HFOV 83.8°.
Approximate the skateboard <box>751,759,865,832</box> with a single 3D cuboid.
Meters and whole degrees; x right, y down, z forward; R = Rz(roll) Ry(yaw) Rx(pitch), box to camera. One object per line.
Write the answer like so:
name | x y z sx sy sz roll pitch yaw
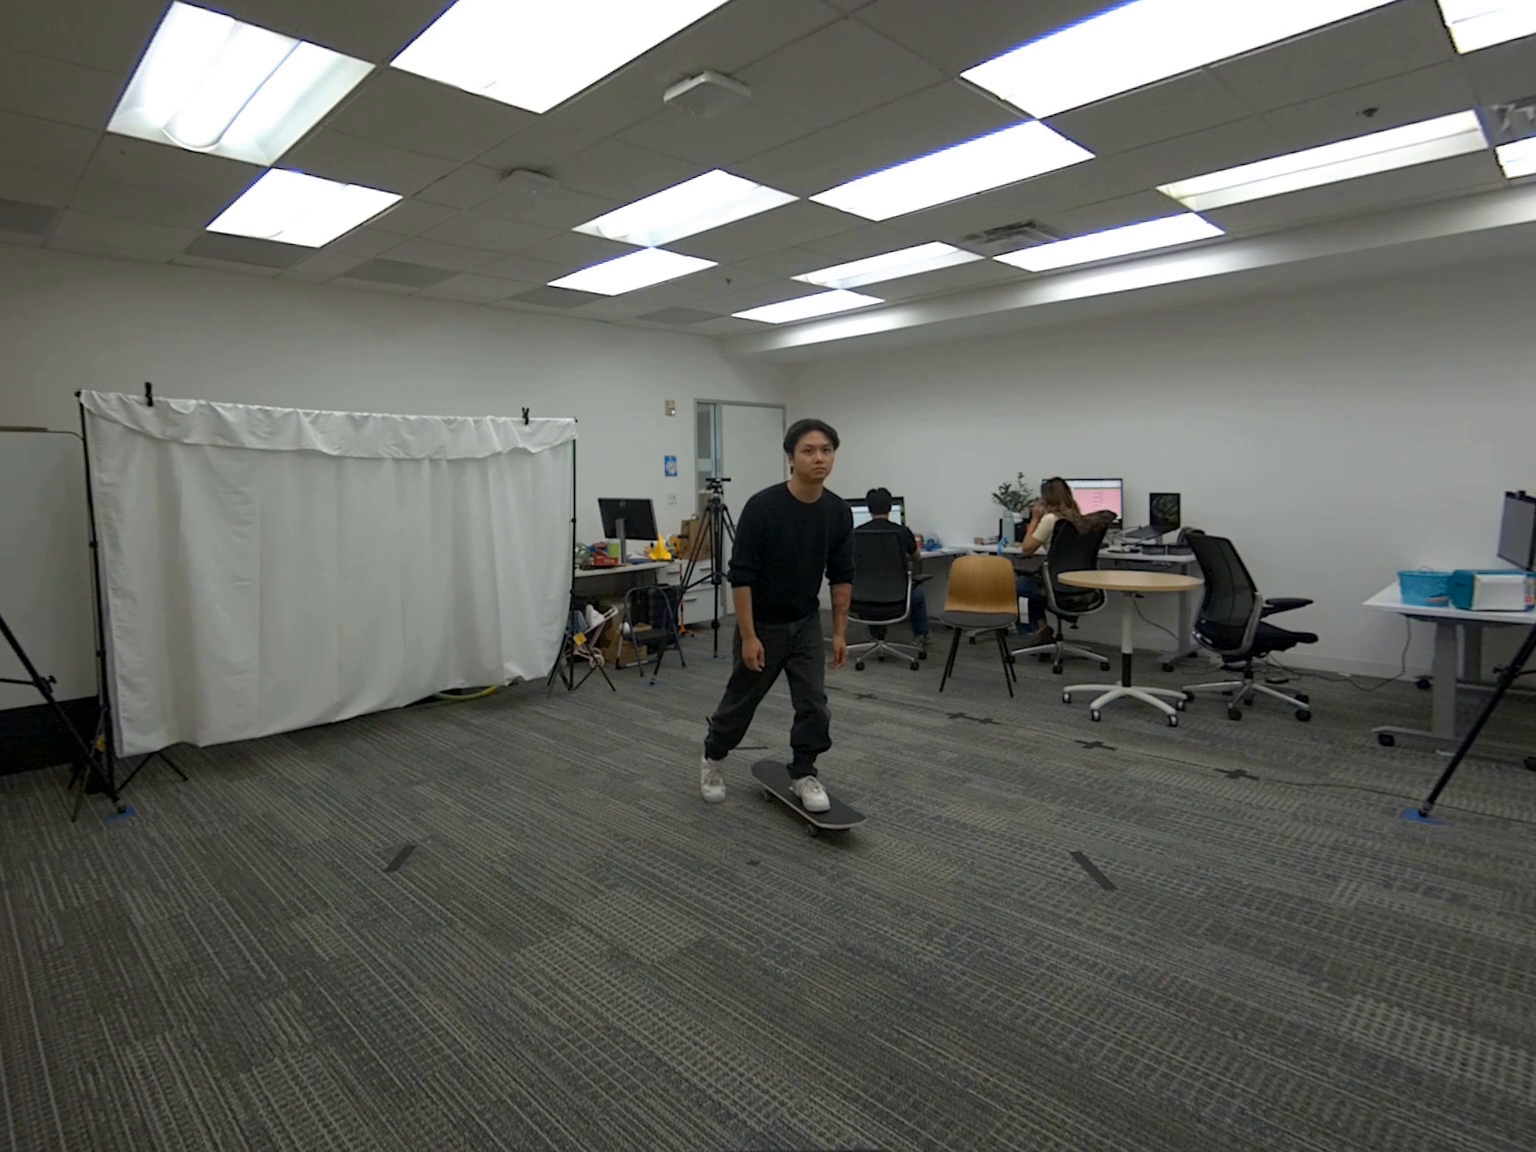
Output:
skateboard | 0.158 0.937 3.541 0.190 0.110 0.805 -4 7 -24
